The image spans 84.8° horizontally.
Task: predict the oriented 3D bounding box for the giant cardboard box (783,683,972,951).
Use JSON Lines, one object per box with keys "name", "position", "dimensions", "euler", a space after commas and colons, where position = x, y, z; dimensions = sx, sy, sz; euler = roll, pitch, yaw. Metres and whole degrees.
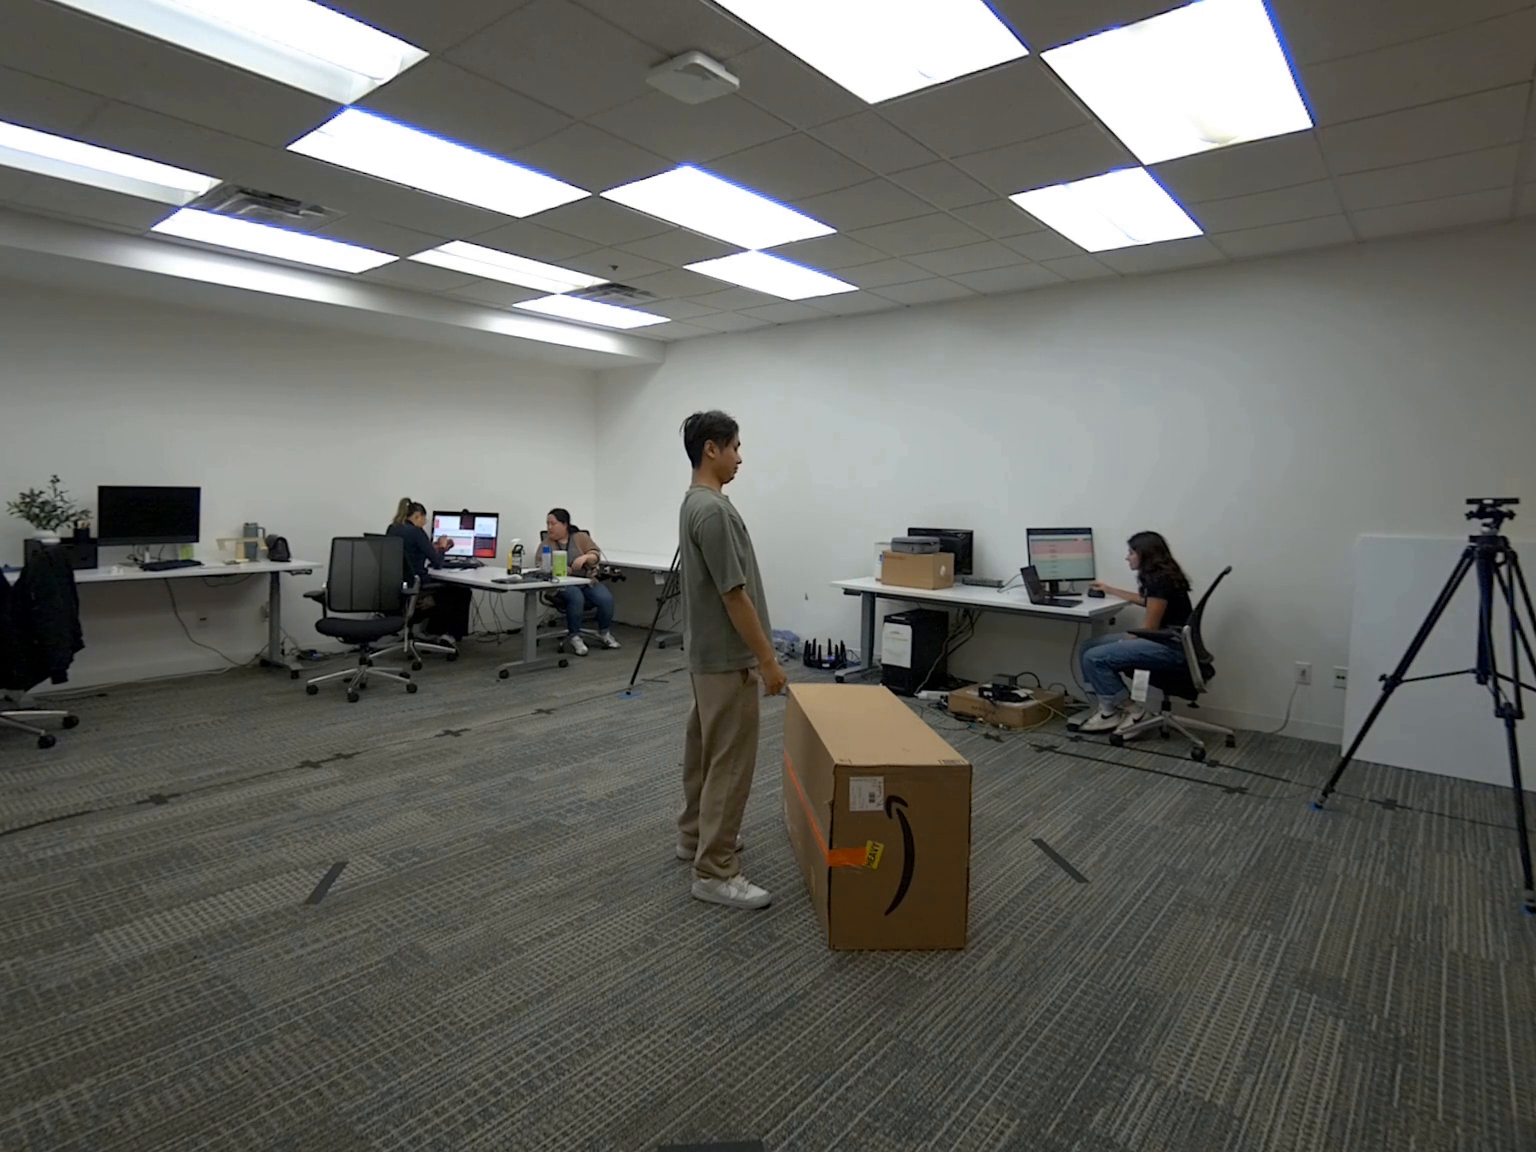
{"name": "giant cardboard box", "position": [0.332, 0.787, 3.071], "dimensions": [0.423, 0.575, 1.036], "euler": [0, 5, -7]}
